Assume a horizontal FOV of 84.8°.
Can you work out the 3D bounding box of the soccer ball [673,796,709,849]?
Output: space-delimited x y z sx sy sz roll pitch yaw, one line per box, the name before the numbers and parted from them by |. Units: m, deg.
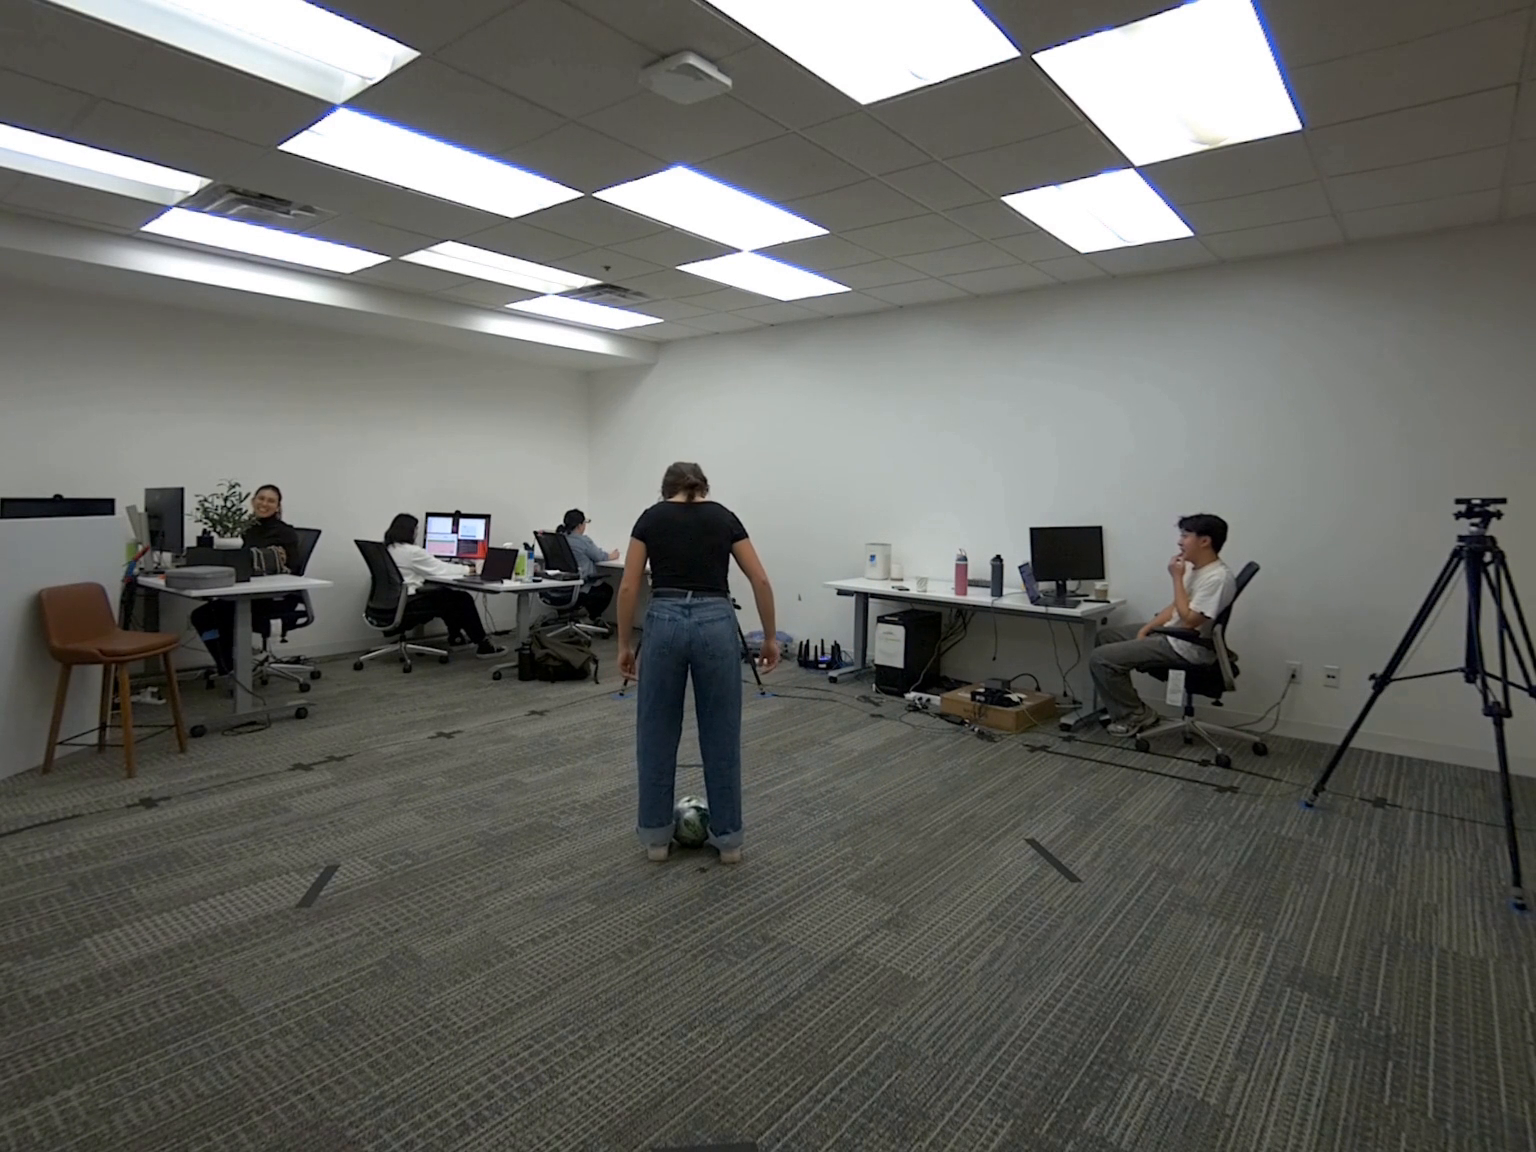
soccer ball | -0.297 0.954 3.327 0.187 0.187 0.188 1 4 -2
